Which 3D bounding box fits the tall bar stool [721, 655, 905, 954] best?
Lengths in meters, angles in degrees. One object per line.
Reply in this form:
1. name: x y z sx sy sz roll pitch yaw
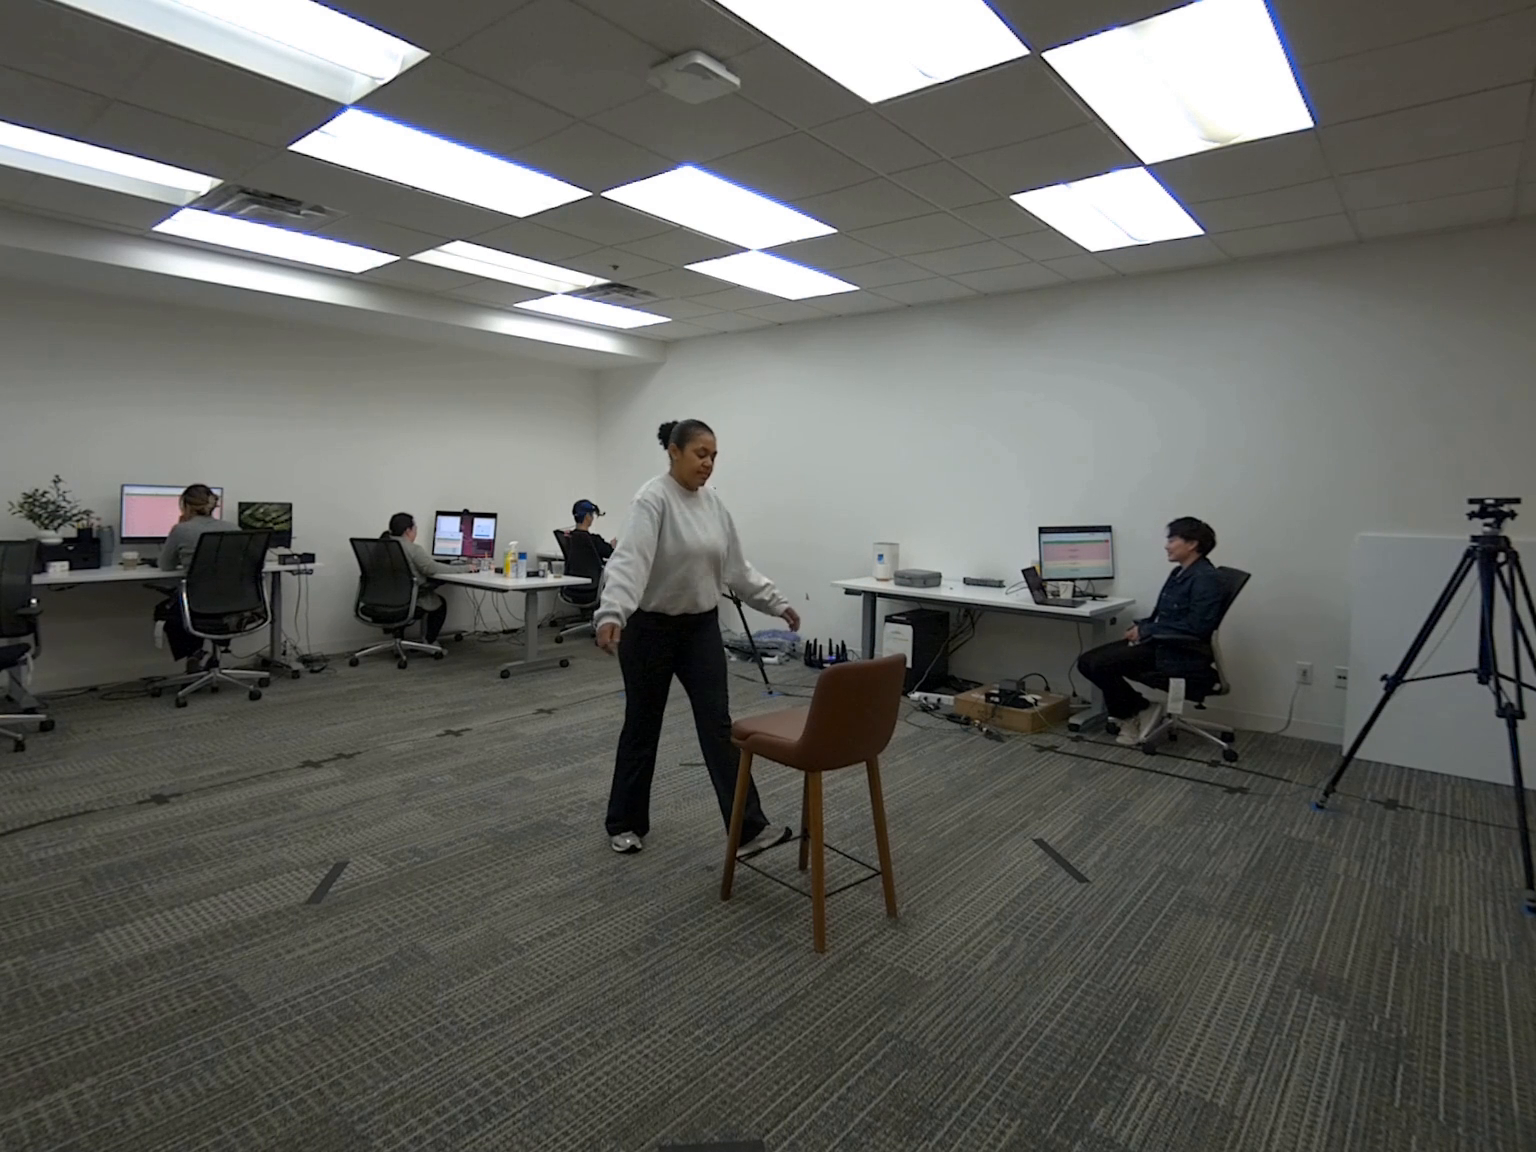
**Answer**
1. tall bar stool: 0.151 0.666 2.814 0.442 0.886 0.484 -1 6 -42
